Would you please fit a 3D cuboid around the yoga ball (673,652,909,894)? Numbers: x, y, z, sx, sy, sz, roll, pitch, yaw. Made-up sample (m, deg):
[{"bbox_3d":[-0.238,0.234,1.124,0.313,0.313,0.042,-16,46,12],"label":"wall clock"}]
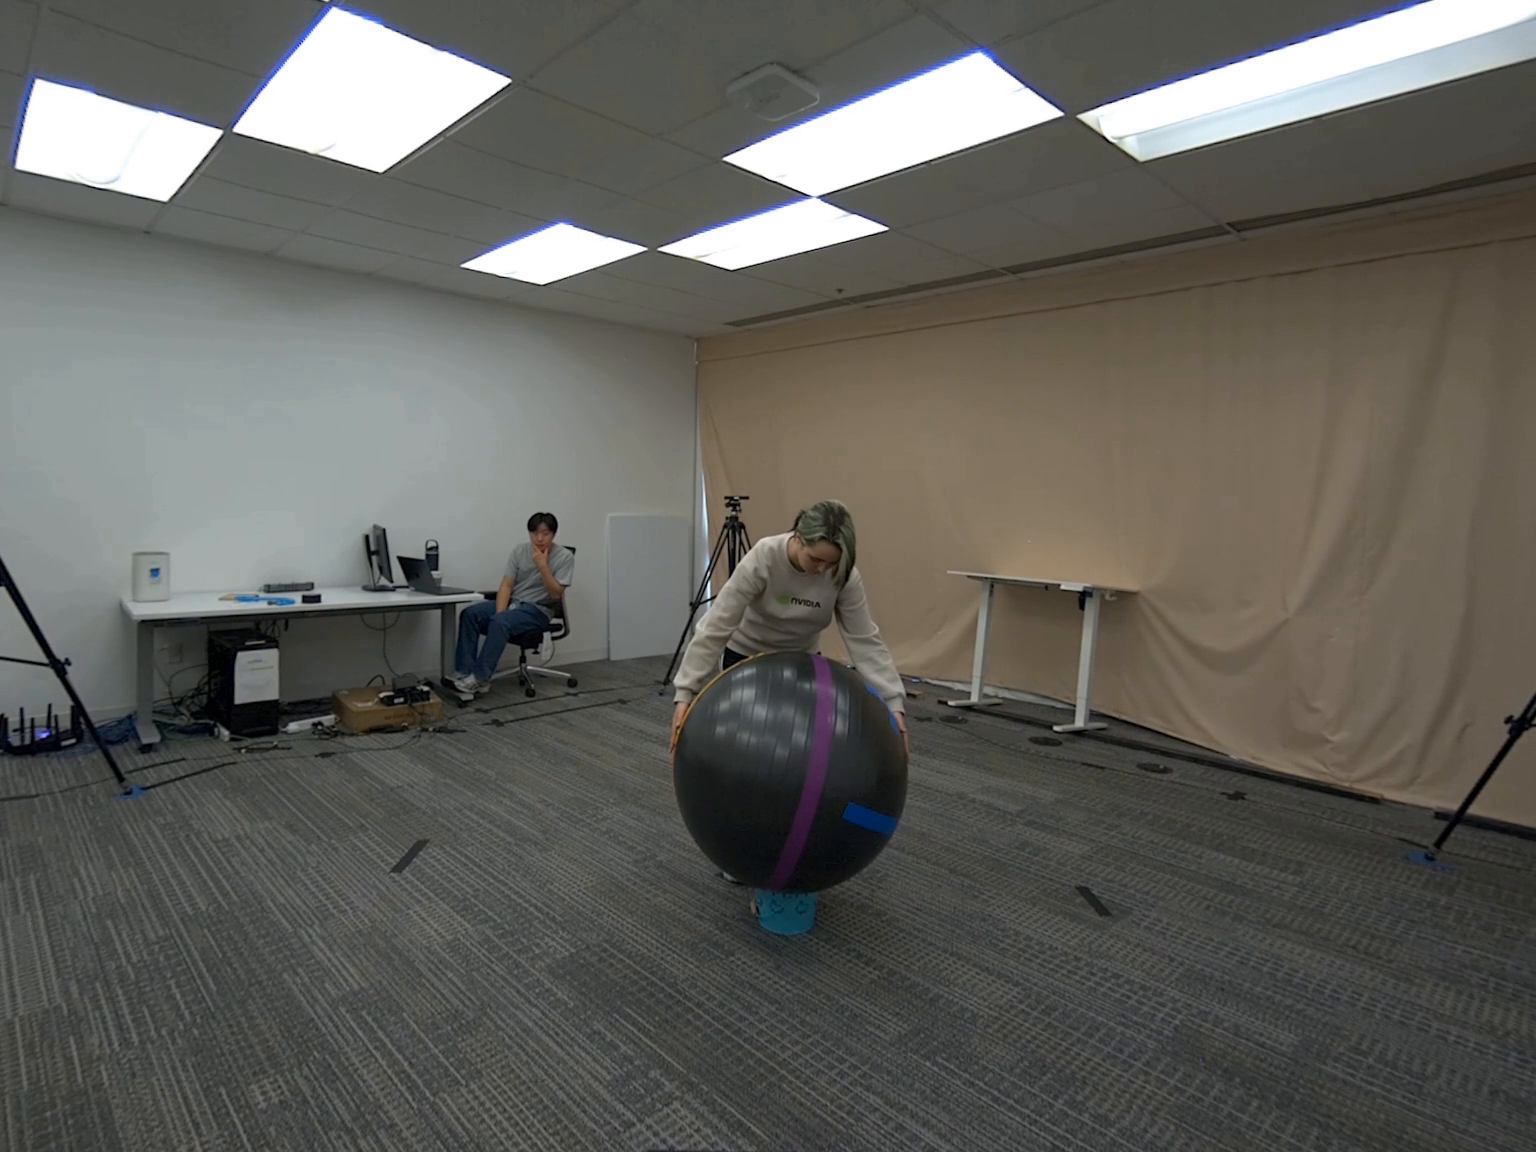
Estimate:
[{"bbox_3d":[0.067,0.635,2.726,0.757,0.756,0.761,1,4,-1],"label":"yoga ball"}]
